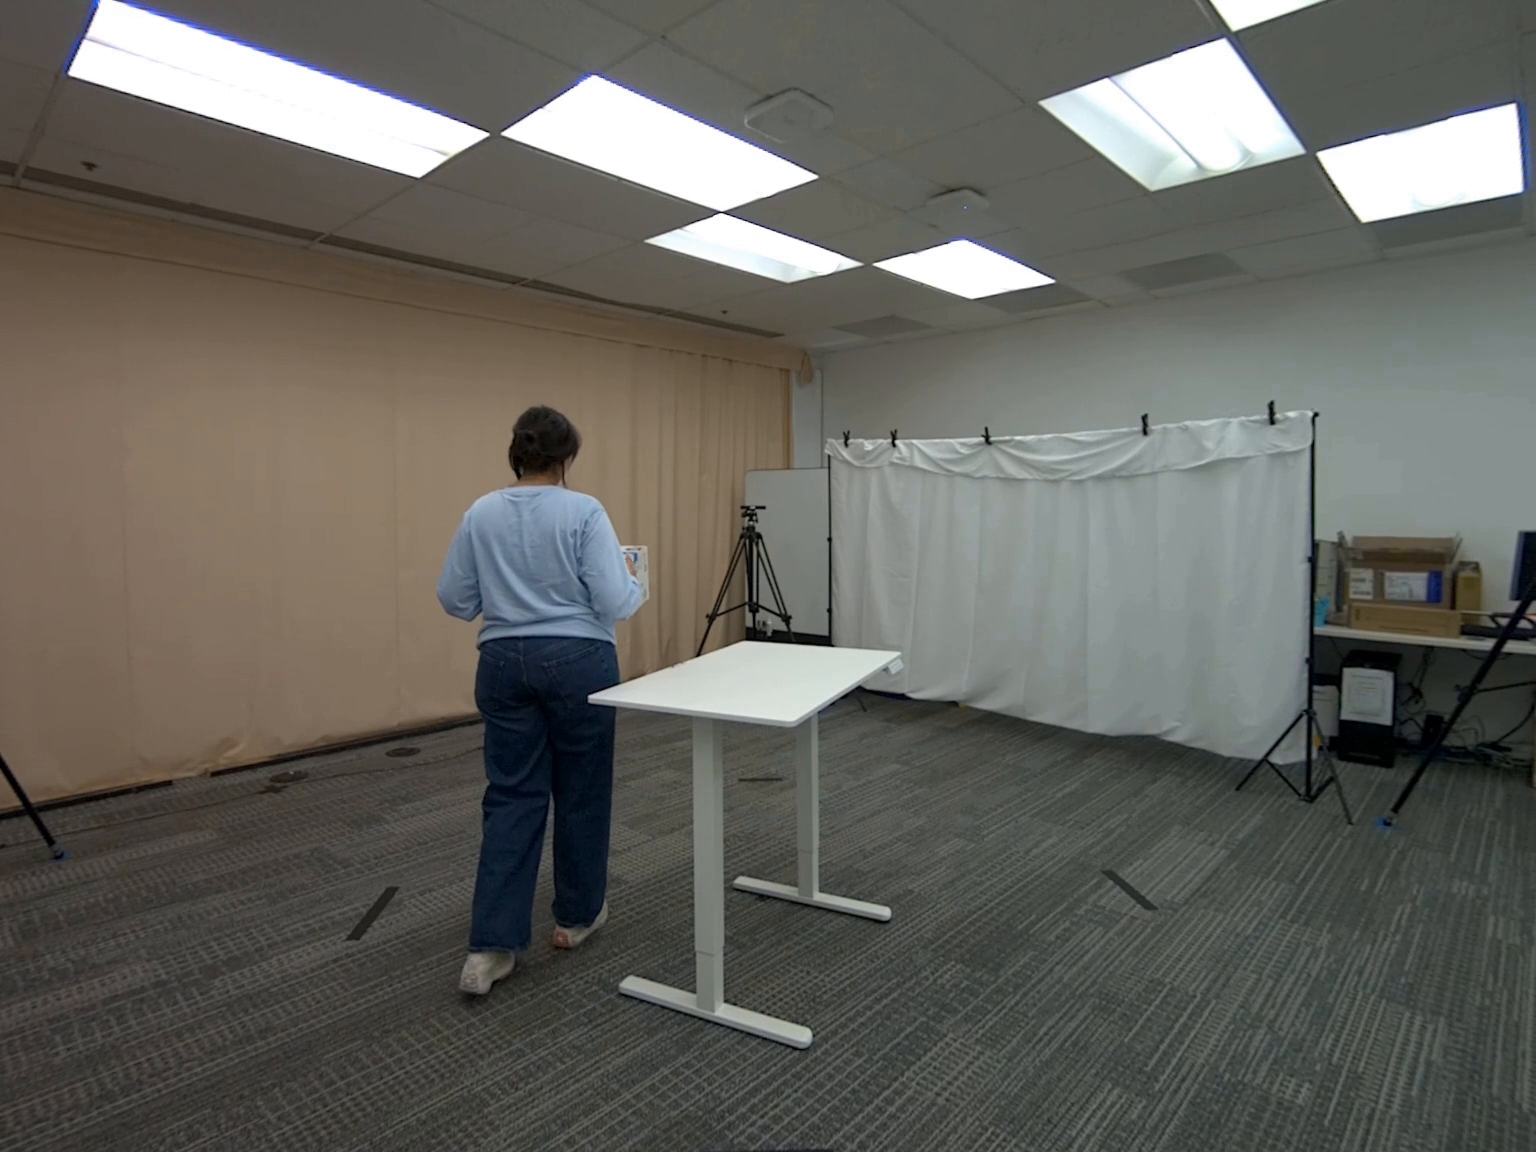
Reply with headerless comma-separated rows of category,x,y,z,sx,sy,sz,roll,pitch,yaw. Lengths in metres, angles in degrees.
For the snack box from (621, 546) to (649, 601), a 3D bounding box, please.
snack box,-0.663,0.016,2.951,0.408,0.204,0.340,1,10,6
